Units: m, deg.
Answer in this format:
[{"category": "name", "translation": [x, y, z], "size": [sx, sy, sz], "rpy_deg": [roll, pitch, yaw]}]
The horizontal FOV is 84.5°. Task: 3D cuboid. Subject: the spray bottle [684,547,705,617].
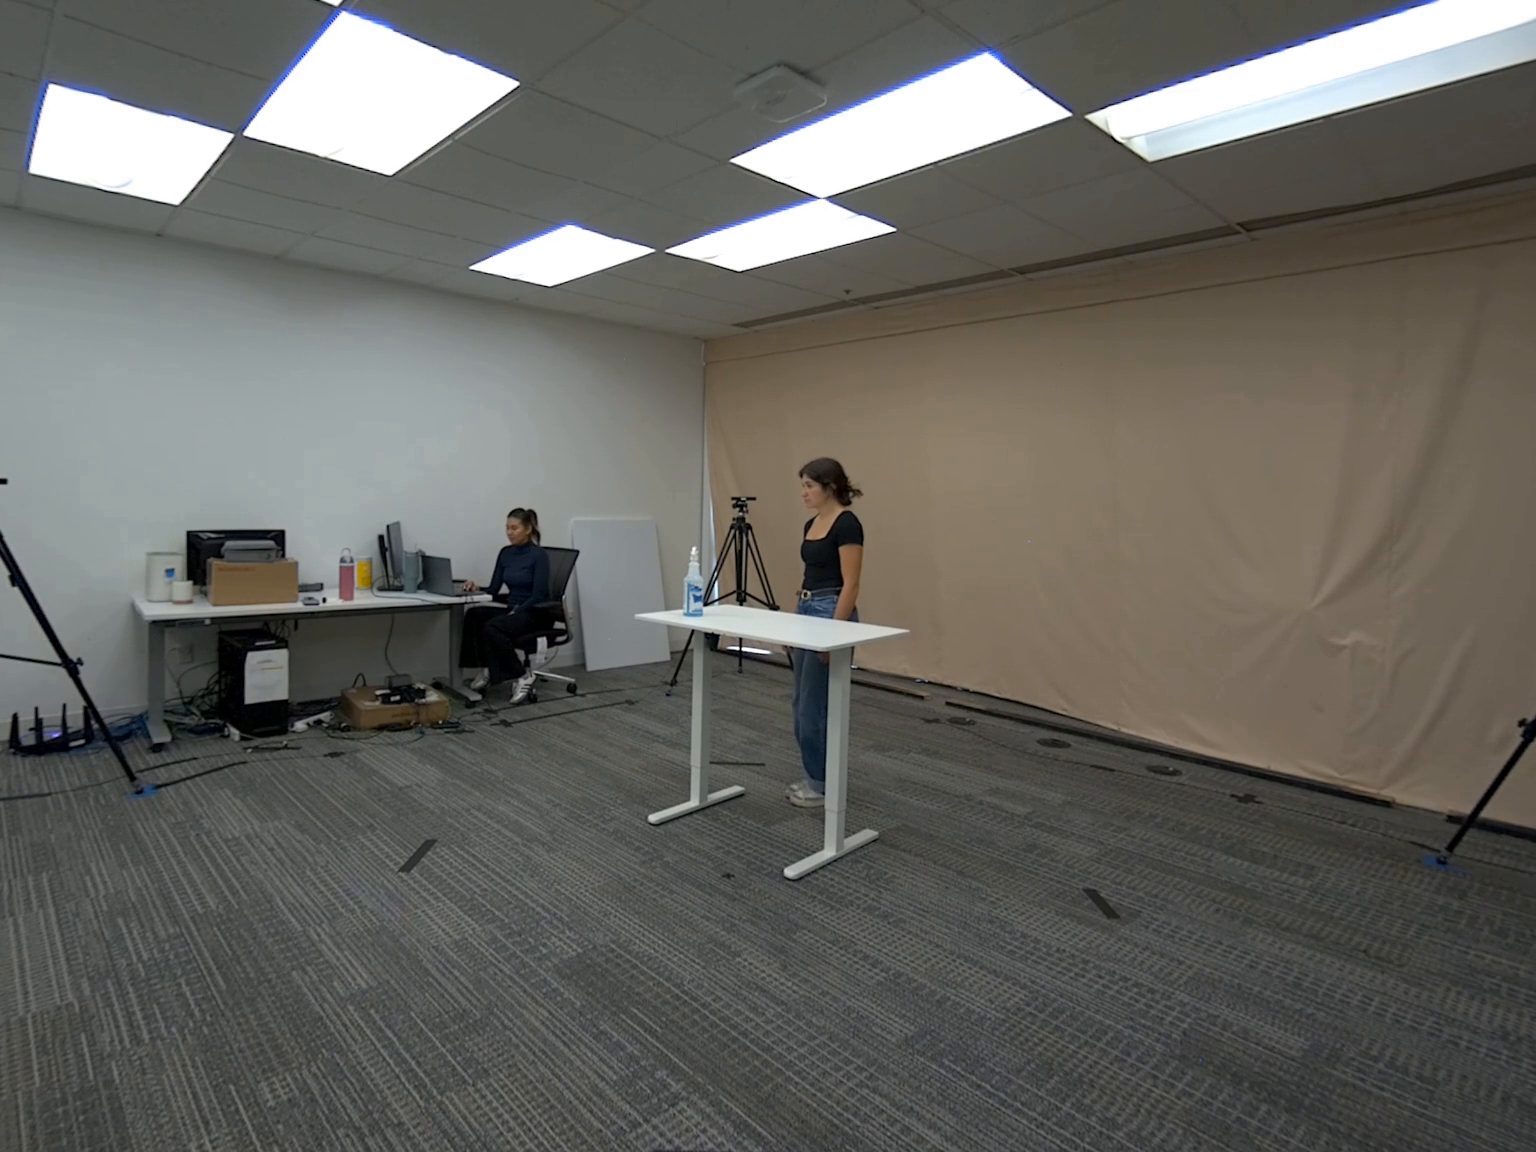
[{"category": "spray bottle", "translation": [-0.341, 0.029, 3.644], "size": [0.088, 0.297, 0.088], "rpy_deg": [-2, 0, 24]}]
